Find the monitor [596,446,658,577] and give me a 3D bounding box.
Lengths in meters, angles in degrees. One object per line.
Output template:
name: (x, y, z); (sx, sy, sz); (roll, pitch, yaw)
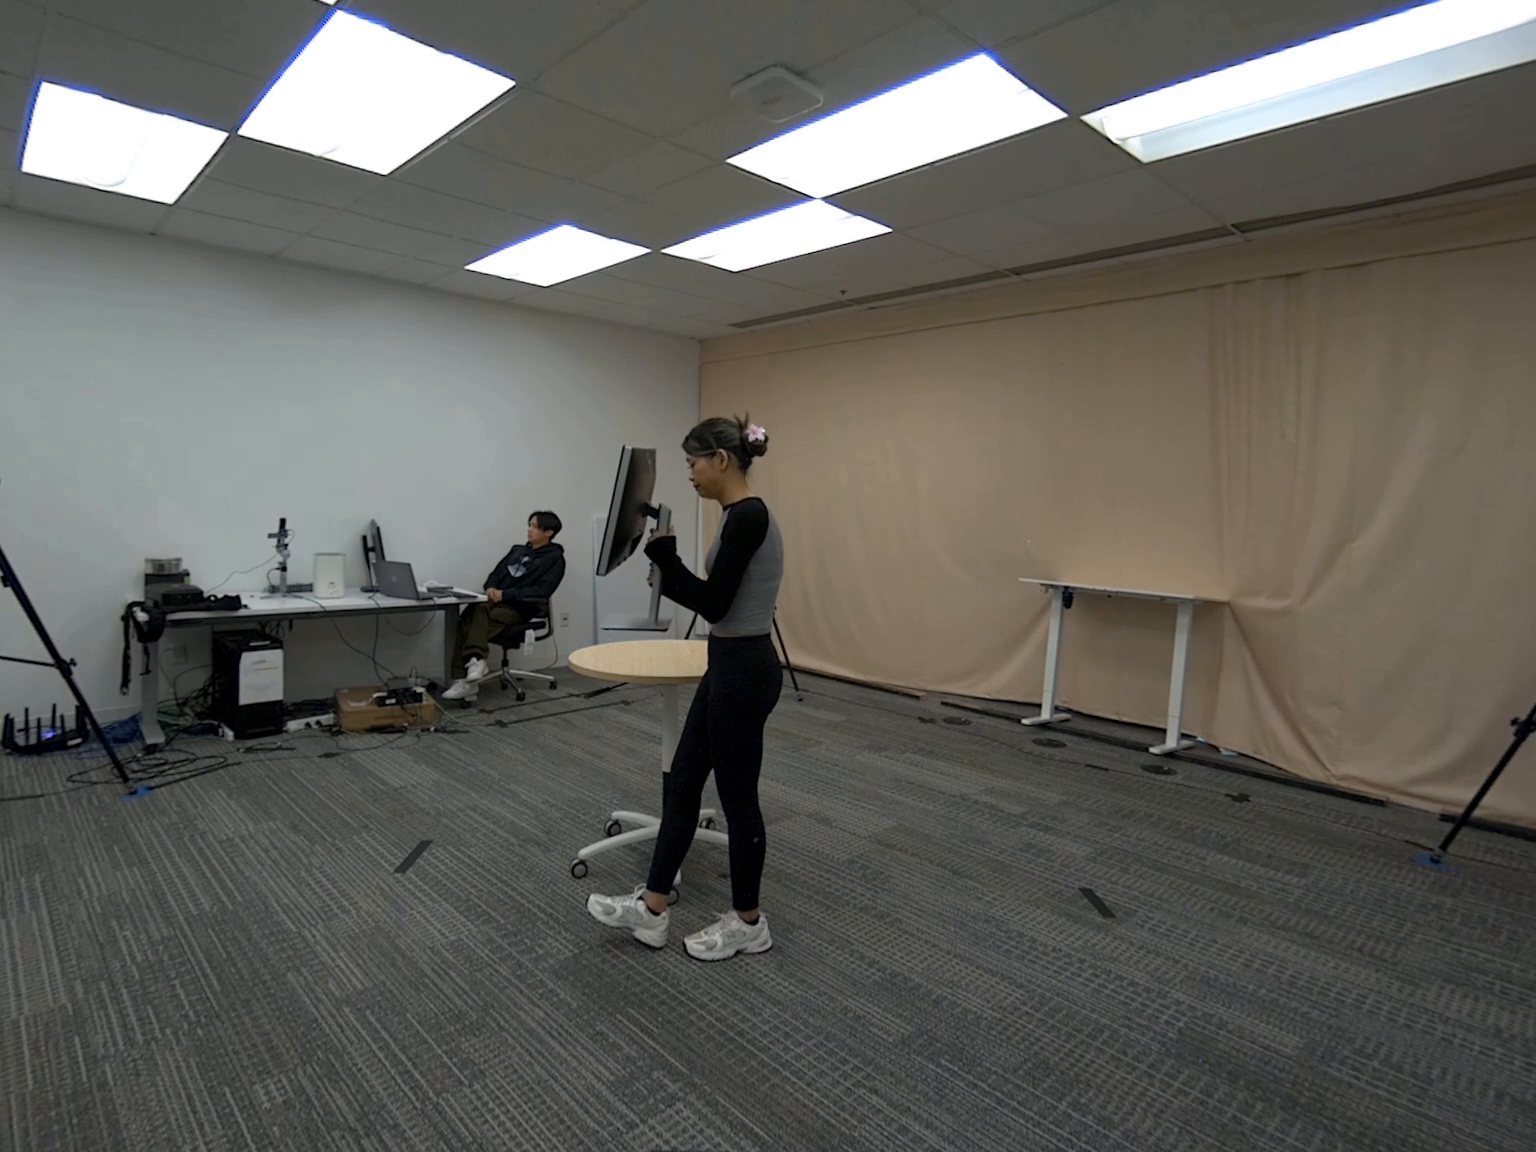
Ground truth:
monitor: (-0.392, -0.113, 2.555); (0.187, 0.520, 0.543); (2, 8, -3)
